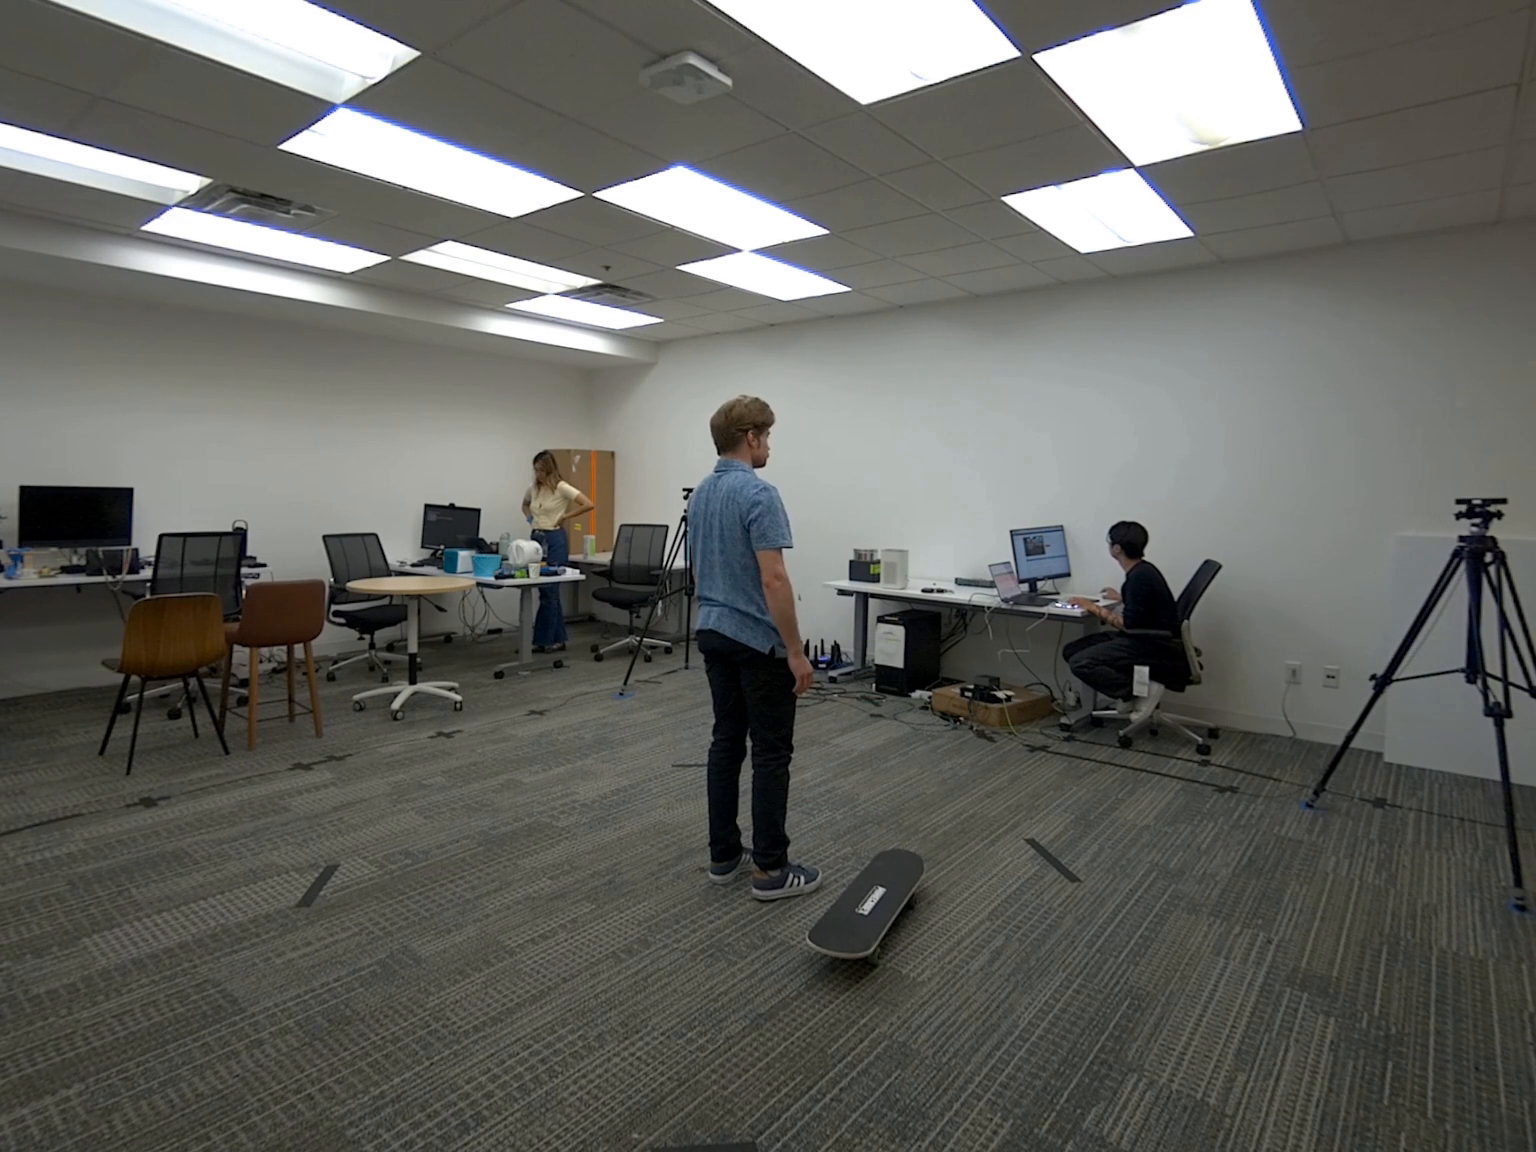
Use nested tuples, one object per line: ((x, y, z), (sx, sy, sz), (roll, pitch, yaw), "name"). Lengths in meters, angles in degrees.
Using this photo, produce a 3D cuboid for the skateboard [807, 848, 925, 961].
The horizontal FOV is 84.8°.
((0.328, 1.066, 2.719), (0.199, 0.110, 0.768), (4, 6, 25), "skateboard")
